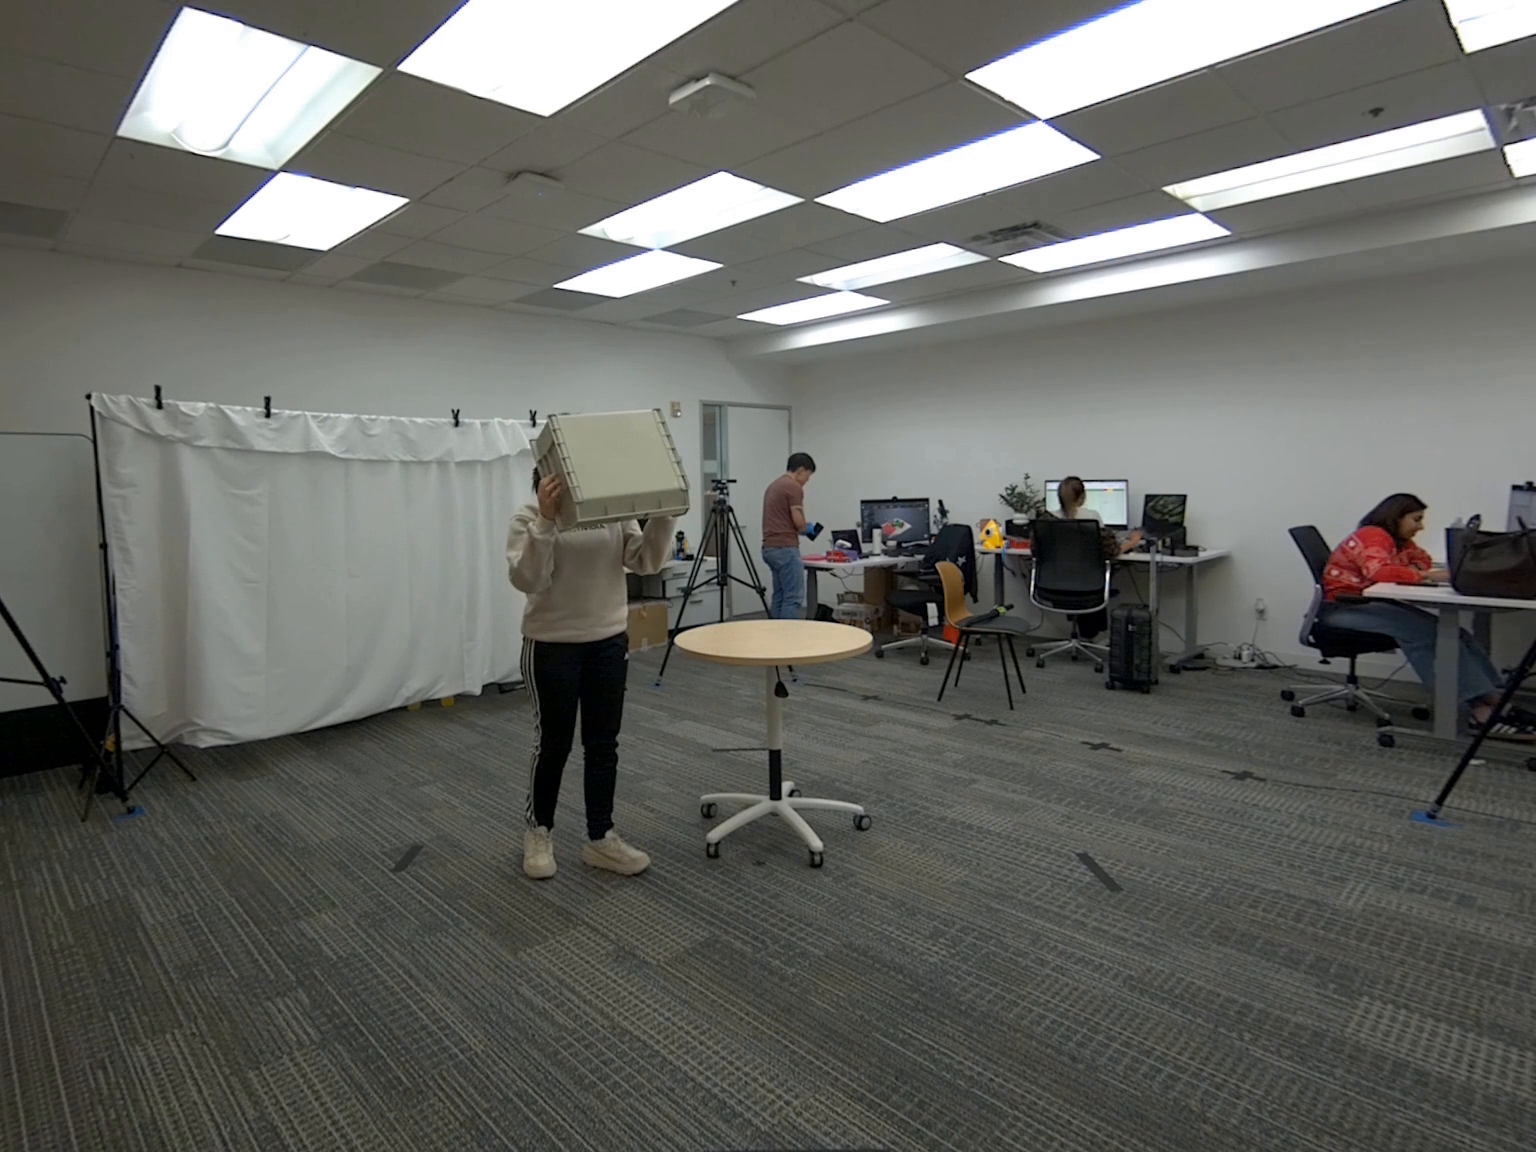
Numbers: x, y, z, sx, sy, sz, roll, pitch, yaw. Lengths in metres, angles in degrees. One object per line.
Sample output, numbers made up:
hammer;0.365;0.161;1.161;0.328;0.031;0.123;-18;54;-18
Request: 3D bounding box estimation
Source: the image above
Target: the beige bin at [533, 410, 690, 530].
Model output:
beige bin;-0.506;-0.337;2.789;0.413;0.385;0.189;-10;-19;-34
